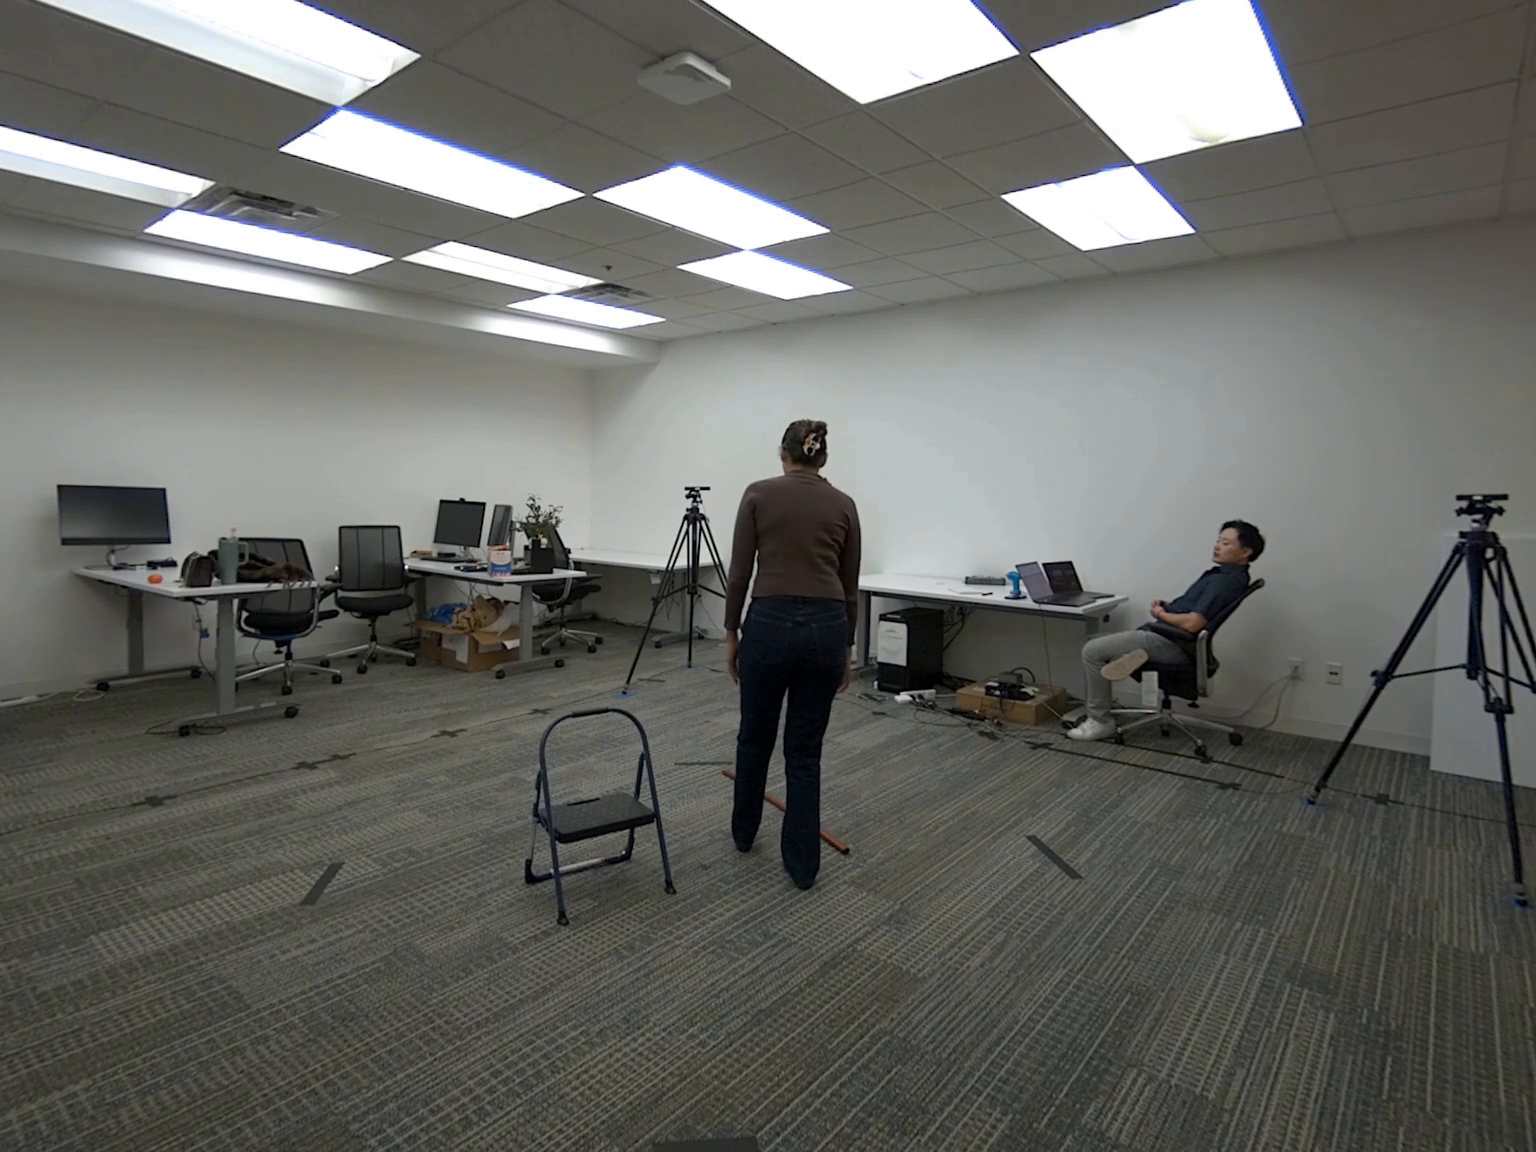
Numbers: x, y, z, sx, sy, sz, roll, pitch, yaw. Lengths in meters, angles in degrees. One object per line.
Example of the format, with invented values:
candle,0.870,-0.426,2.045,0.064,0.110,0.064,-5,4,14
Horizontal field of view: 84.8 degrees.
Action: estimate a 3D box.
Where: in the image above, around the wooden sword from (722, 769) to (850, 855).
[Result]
wooden sword,0.036,0.987,3.697,0.050,0.024,1.055,7,2,-29
